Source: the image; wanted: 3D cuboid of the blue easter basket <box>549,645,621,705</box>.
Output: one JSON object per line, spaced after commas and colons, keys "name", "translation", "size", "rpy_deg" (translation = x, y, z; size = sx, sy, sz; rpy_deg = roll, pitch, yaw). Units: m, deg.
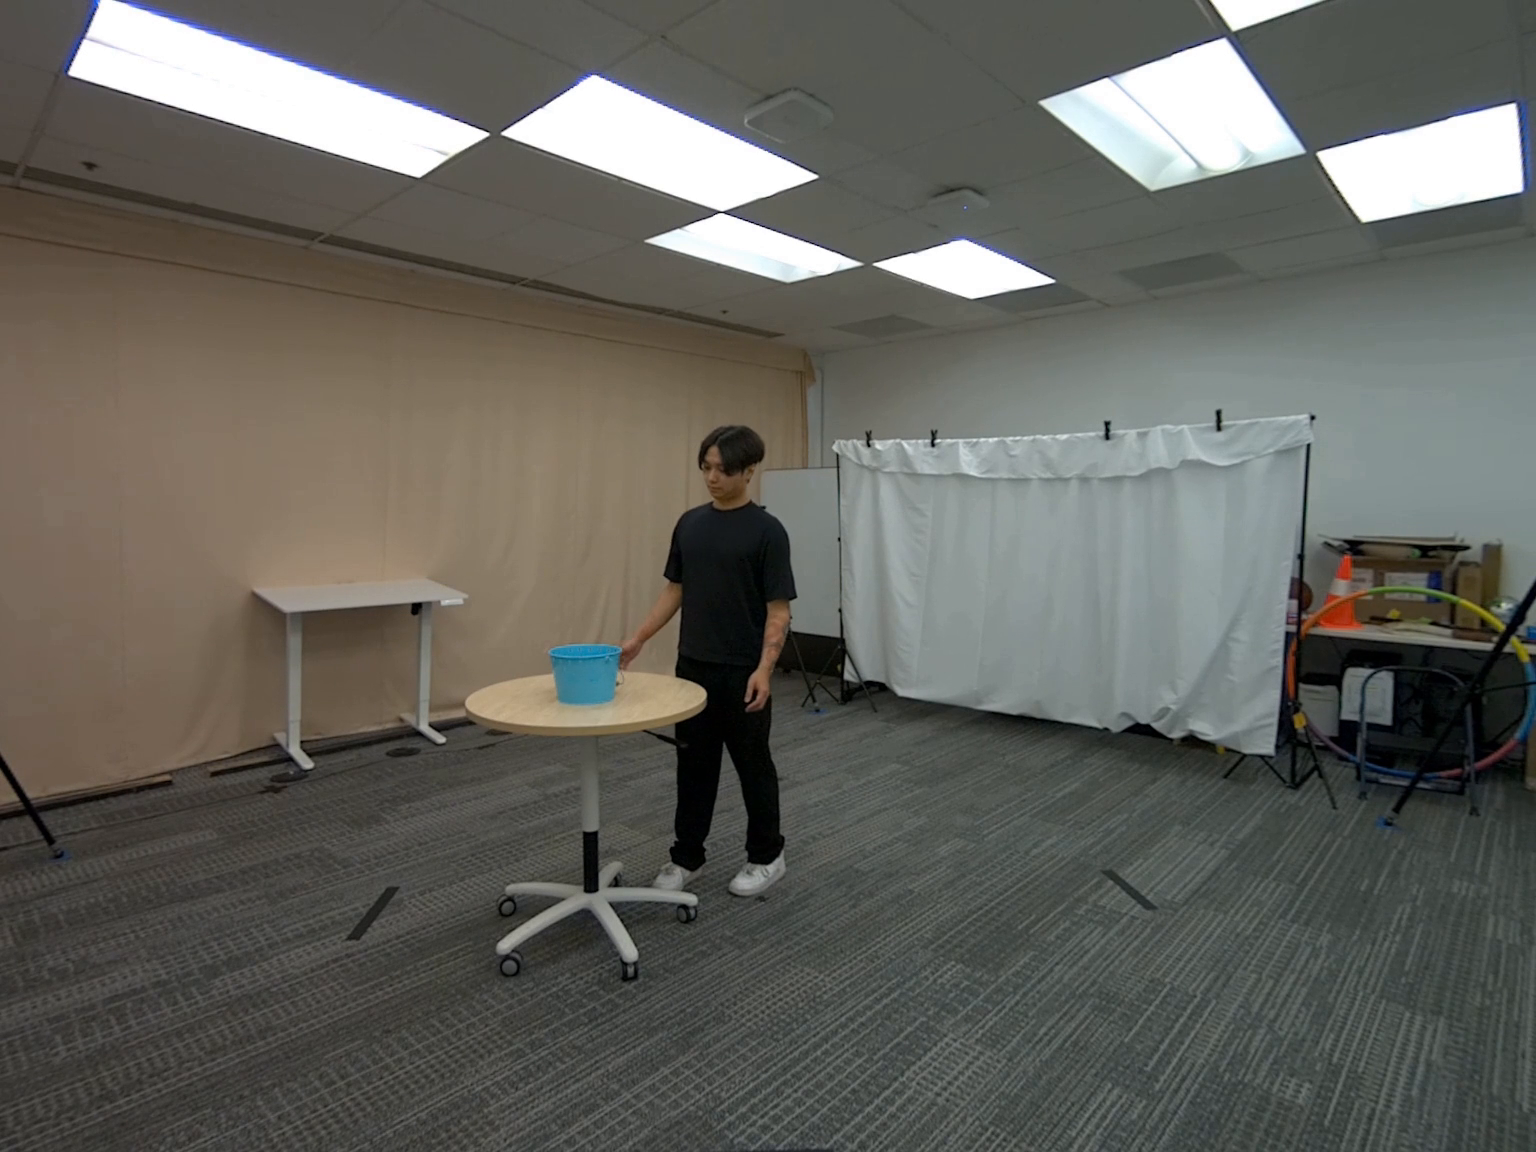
{"name": "blue easter basket", "translation": [-0.583, 0.318, 2.670], "size": [0.243, 0.155, 0.244], "rpy_deg": [-1, 4, -2]}
